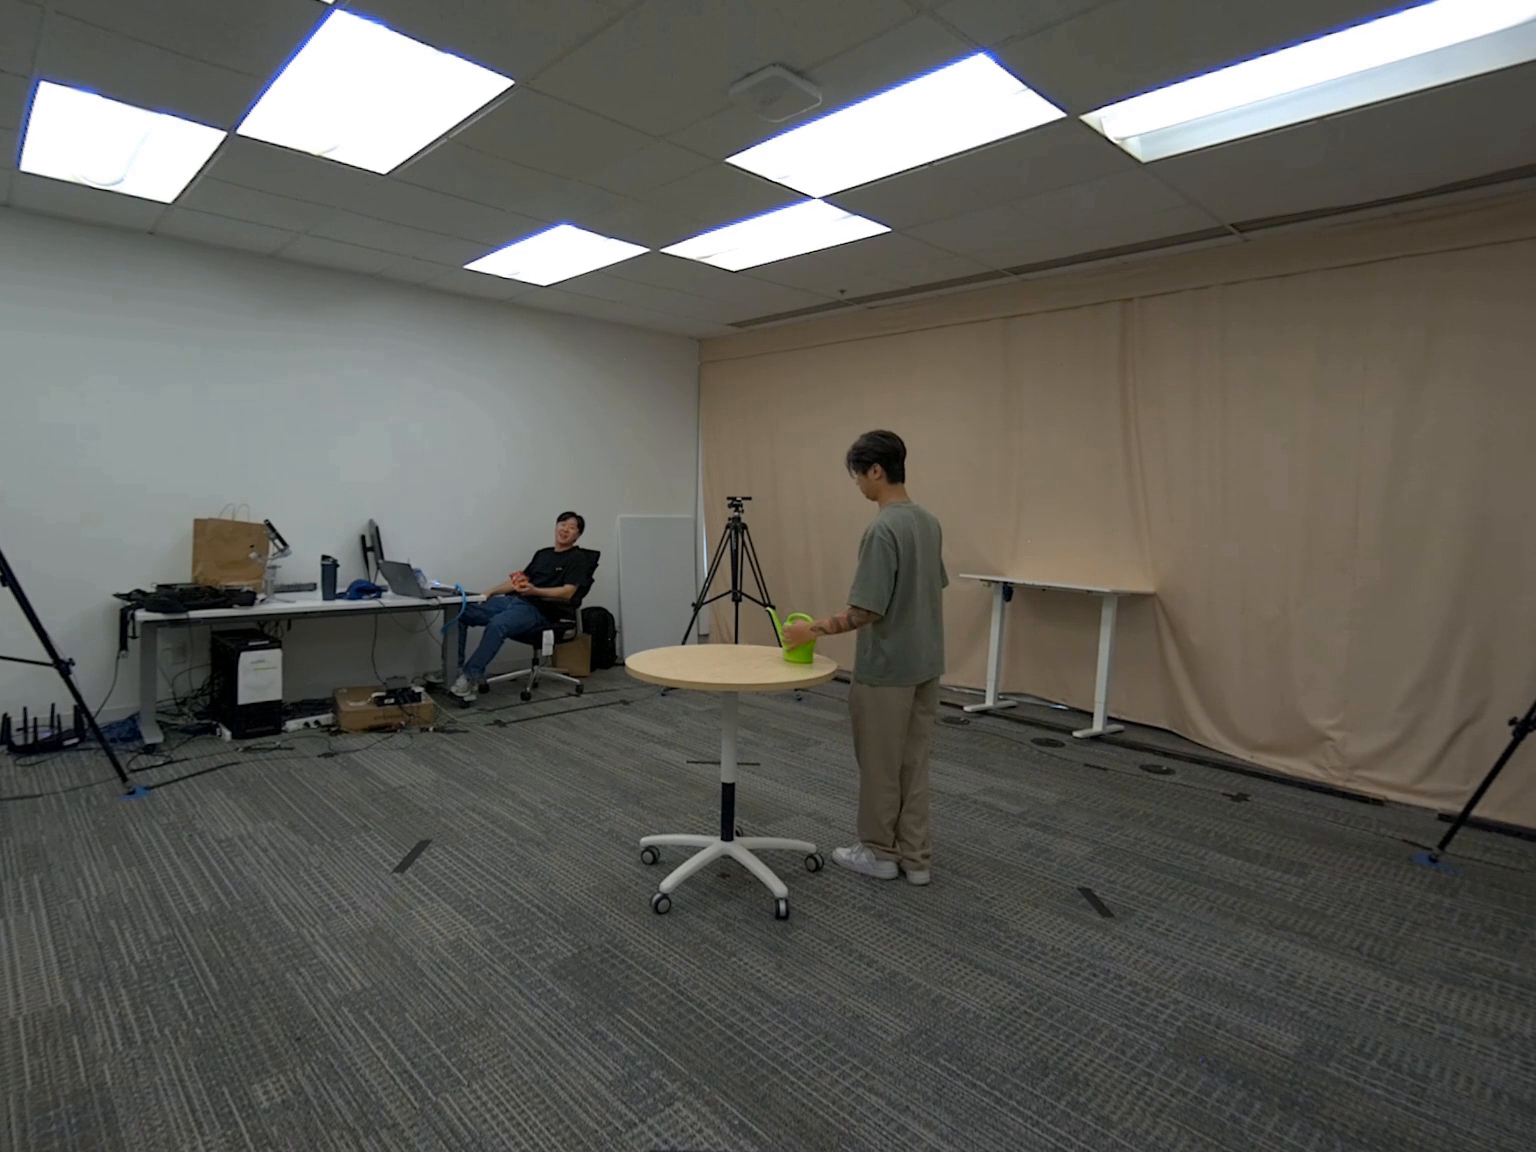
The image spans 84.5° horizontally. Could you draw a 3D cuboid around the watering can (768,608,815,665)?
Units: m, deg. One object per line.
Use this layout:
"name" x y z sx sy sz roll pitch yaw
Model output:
"watering can" 0.089 0.224 3.135 0.096 0.176 0.284 1 5 -27
